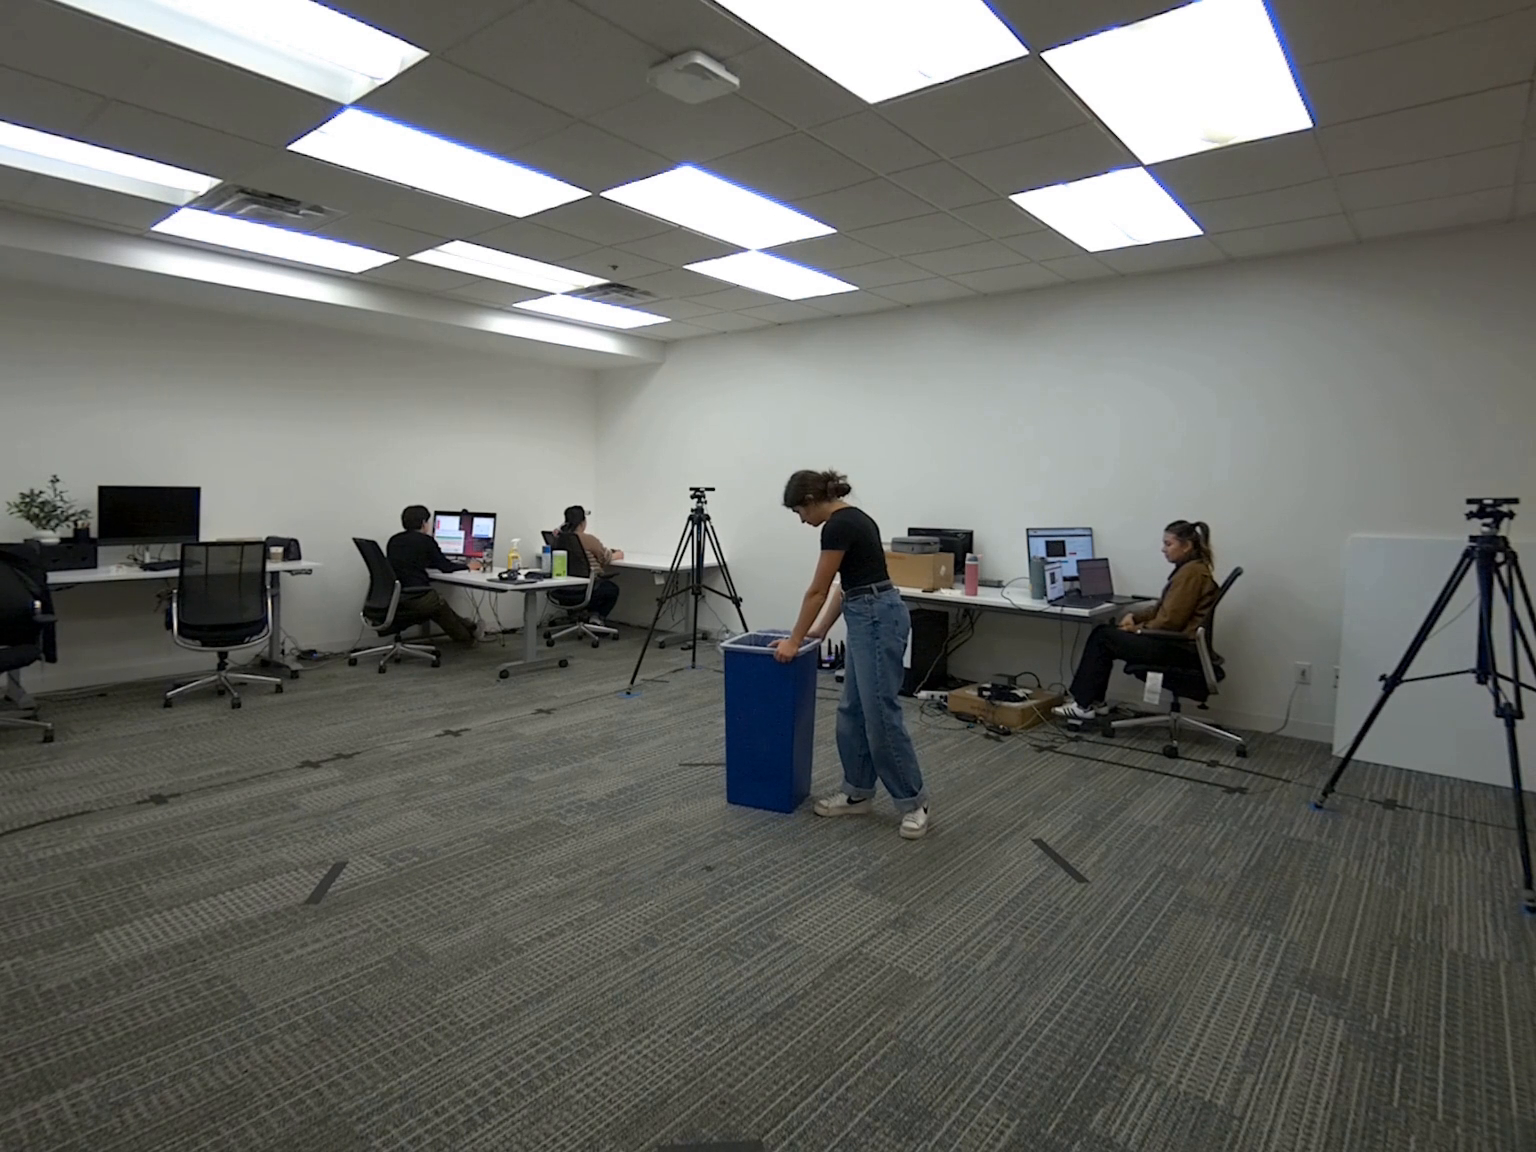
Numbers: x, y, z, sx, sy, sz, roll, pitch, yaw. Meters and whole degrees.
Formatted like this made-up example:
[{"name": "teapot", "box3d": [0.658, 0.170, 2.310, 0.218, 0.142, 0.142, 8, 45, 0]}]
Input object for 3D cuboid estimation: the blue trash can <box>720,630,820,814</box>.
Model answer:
[{"name": "blue trash can", "box3d": [0.004, 0.643, 3.824, 0.387, 0.712, 0.366, 2, 3, 22]}]
